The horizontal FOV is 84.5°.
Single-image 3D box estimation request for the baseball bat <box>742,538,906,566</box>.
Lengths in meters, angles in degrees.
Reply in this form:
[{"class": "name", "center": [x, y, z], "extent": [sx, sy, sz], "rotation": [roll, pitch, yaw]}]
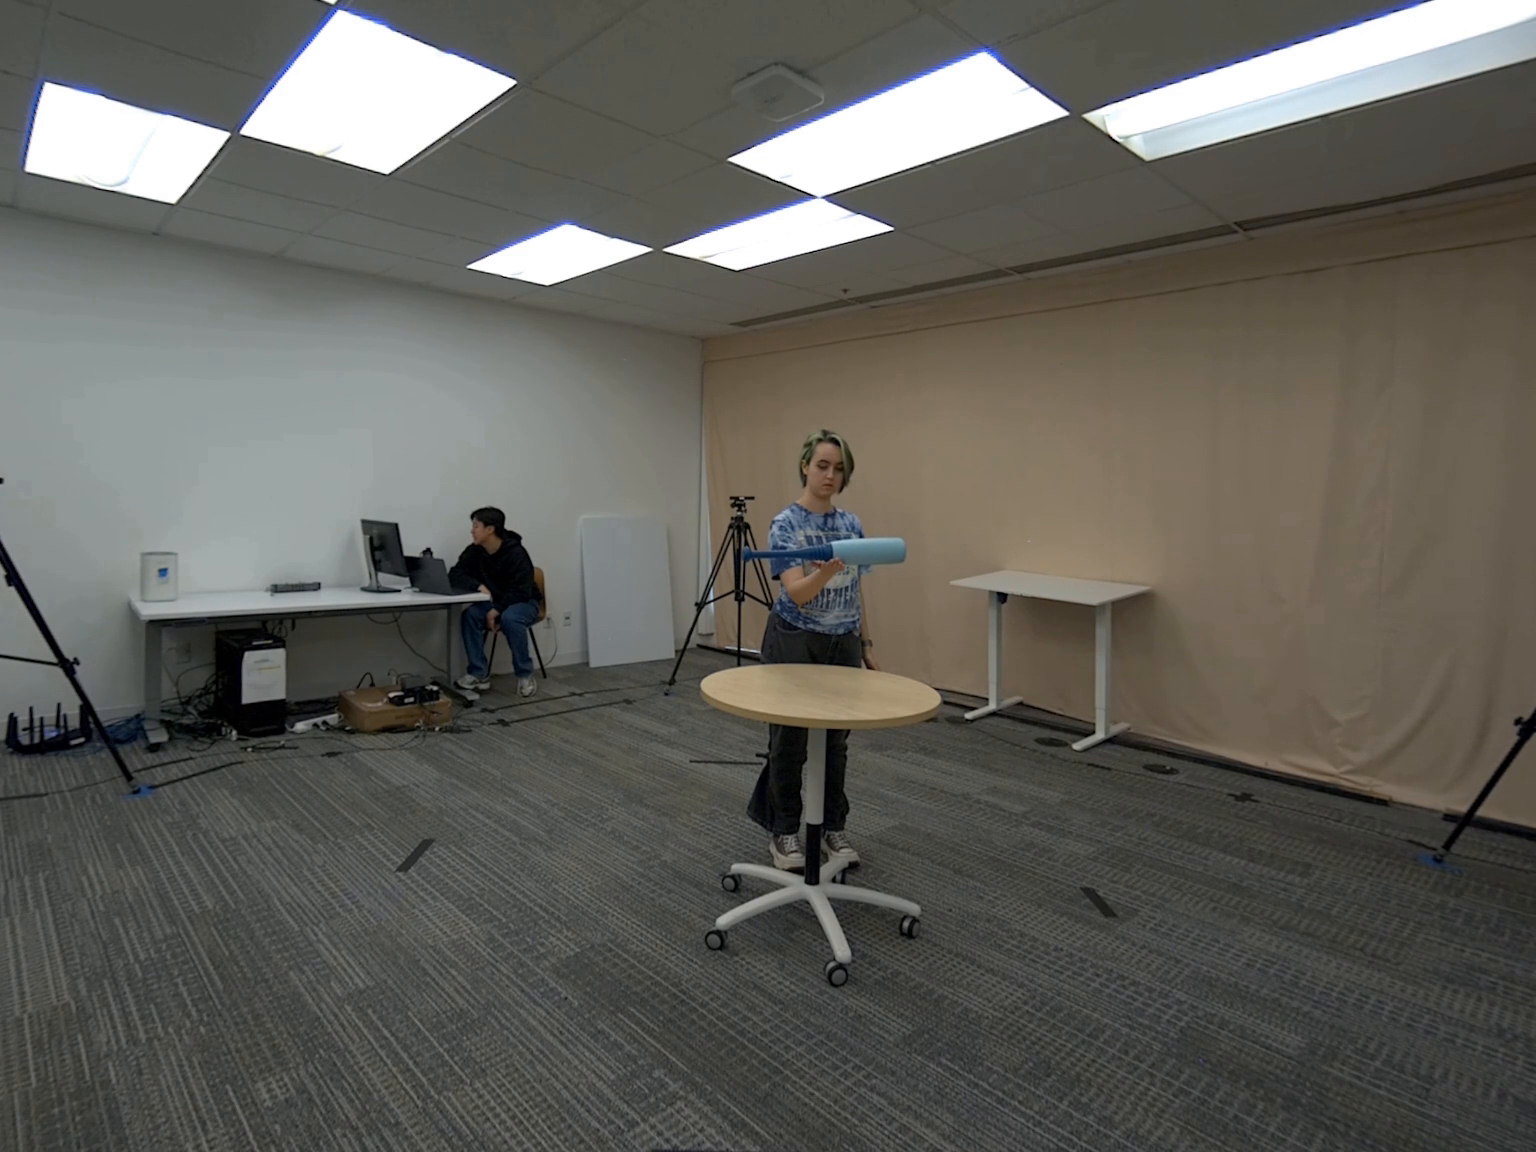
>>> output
[{"class": "baseball bat", "center": [0.181, -0.073, 2.736], "extent": [0.538, 0.089, 0.090], "rotation": [-2, 5, -10]}]
